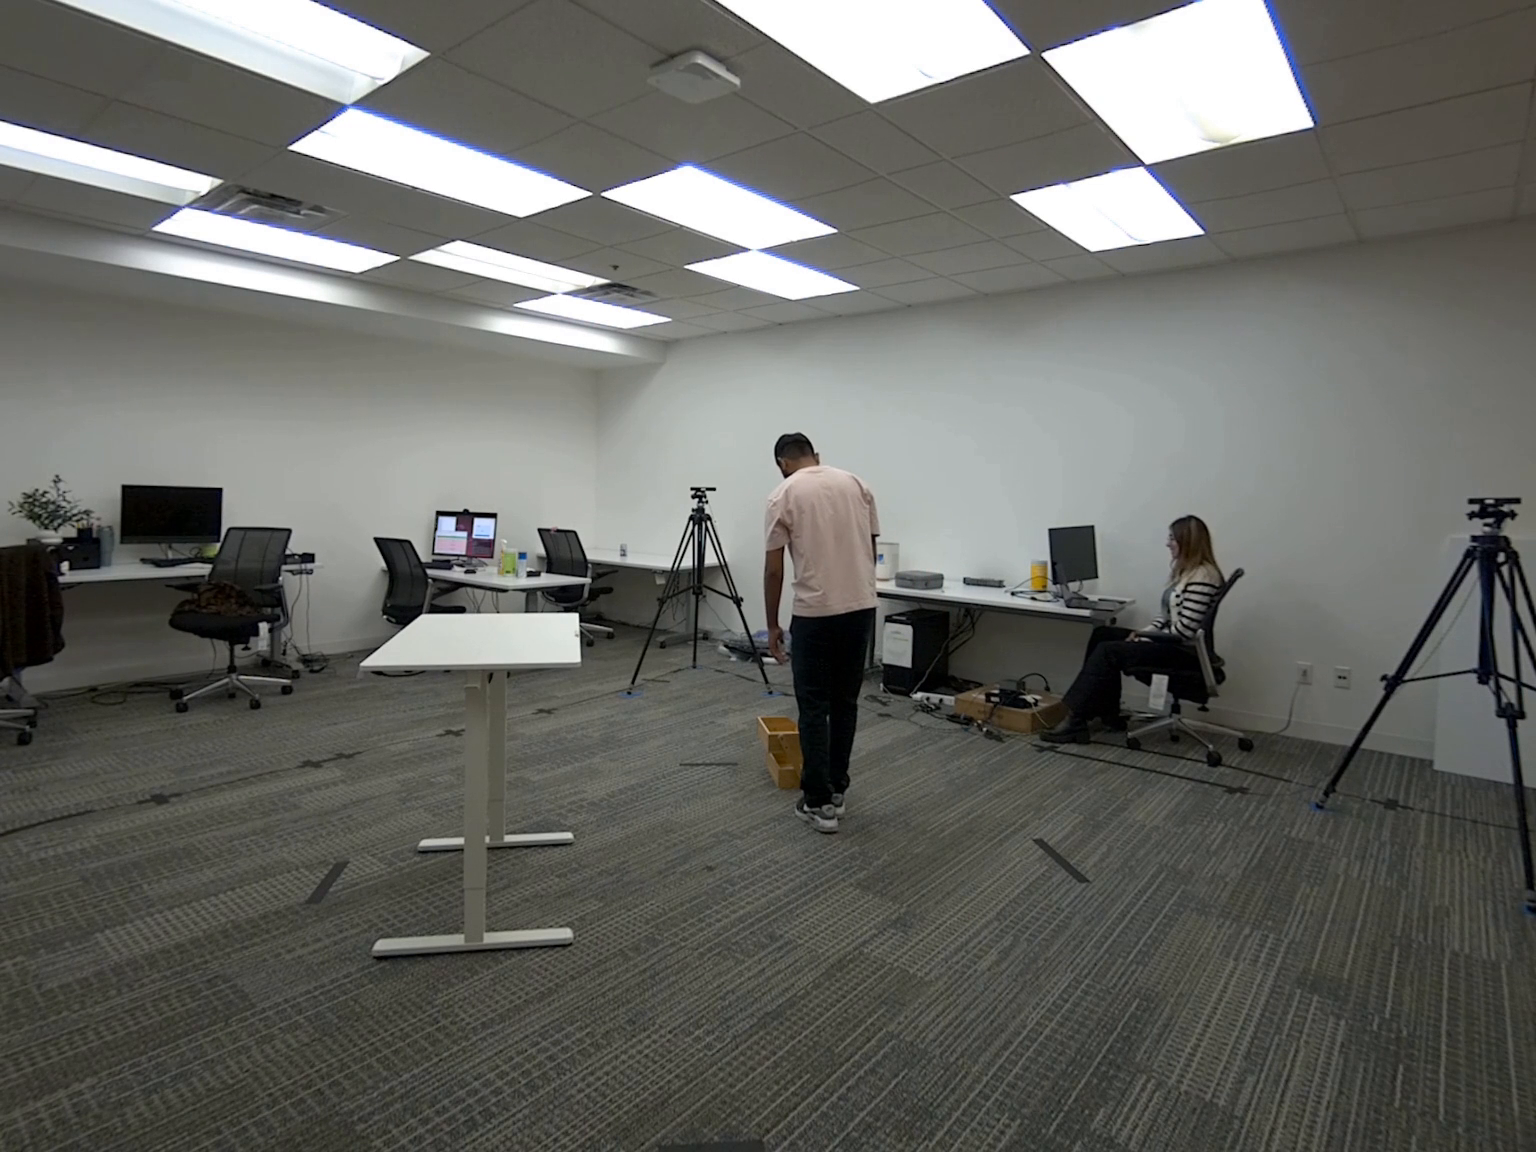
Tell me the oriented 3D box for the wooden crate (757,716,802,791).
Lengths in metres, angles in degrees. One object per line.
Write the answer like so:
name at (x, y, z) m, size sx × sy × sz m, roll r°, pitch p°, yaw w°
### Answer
wooden crate at (0.115, 0.840, 4.123) m, size 0.299 × 0.272 × 0.329 m, roll -1°, pitch 5°, yaw -9°
